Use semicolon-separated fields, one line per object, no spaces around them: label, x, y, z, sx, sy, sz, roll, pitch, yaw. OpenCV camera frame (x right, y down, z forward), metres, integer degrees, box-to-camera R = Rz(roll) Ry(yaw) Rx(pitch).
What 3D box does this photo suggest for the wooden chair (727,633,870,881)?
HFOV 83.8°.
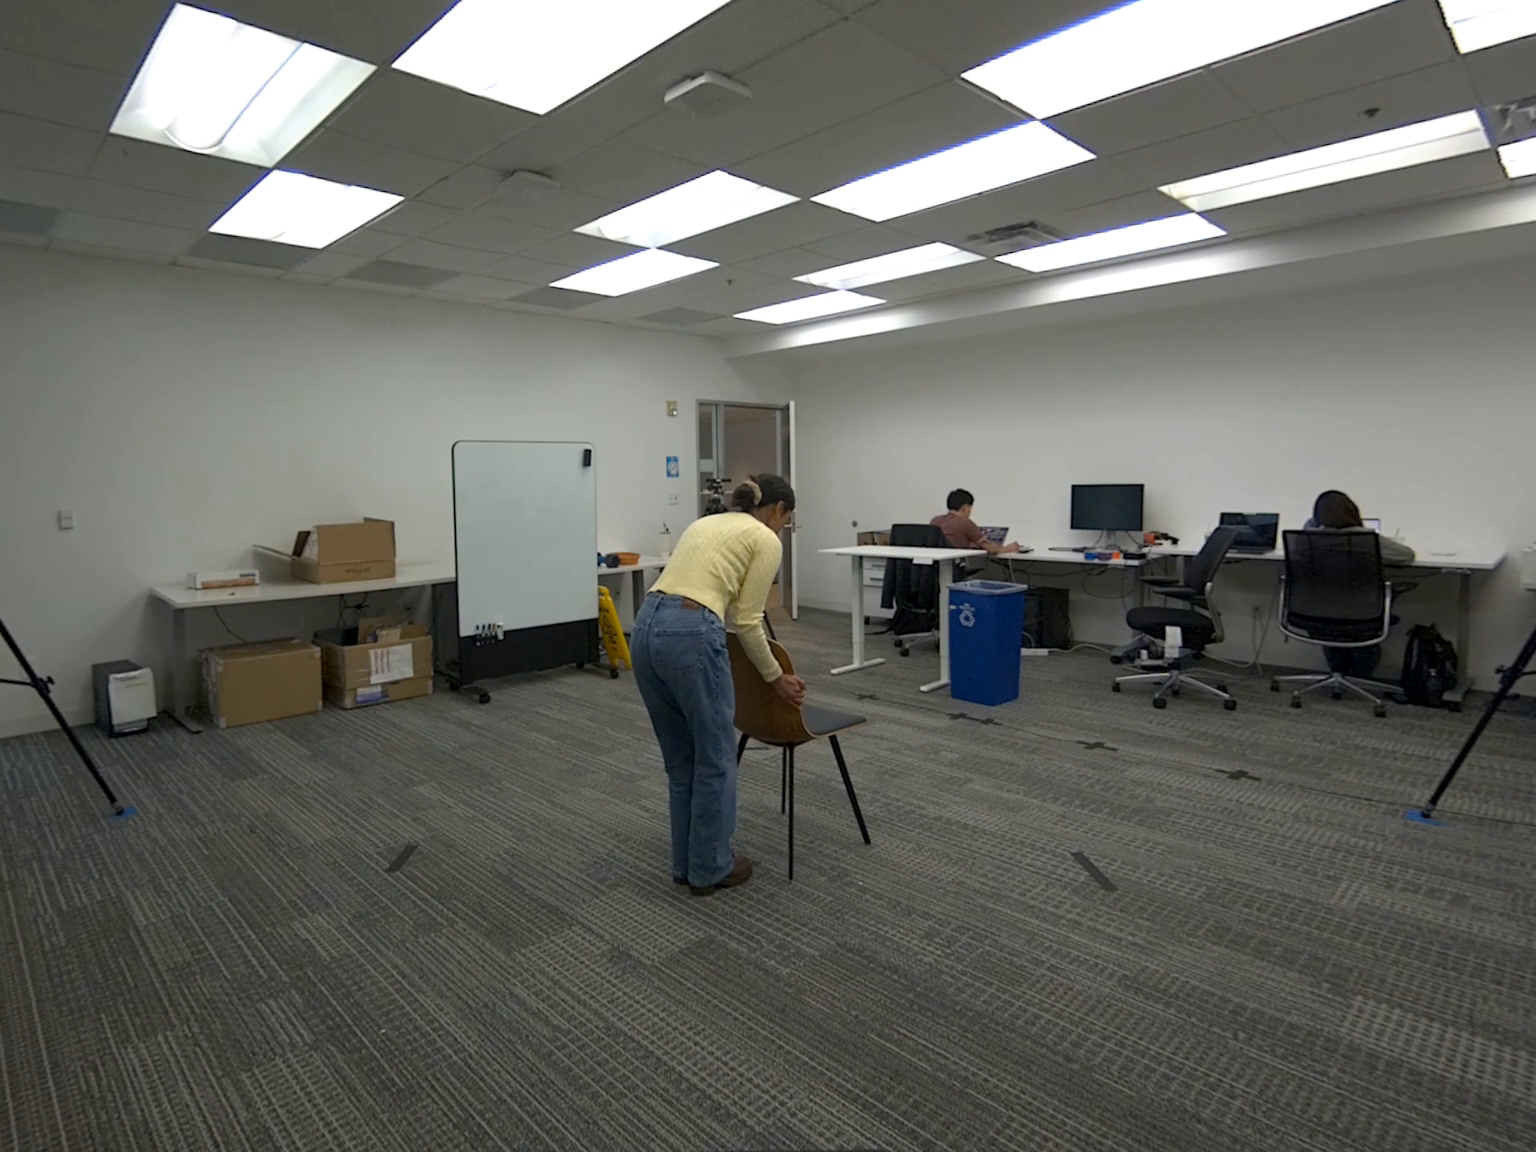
wooden chair;0.082;0.591;3.250;0.510;0.872;0.493;-9;9;-44
